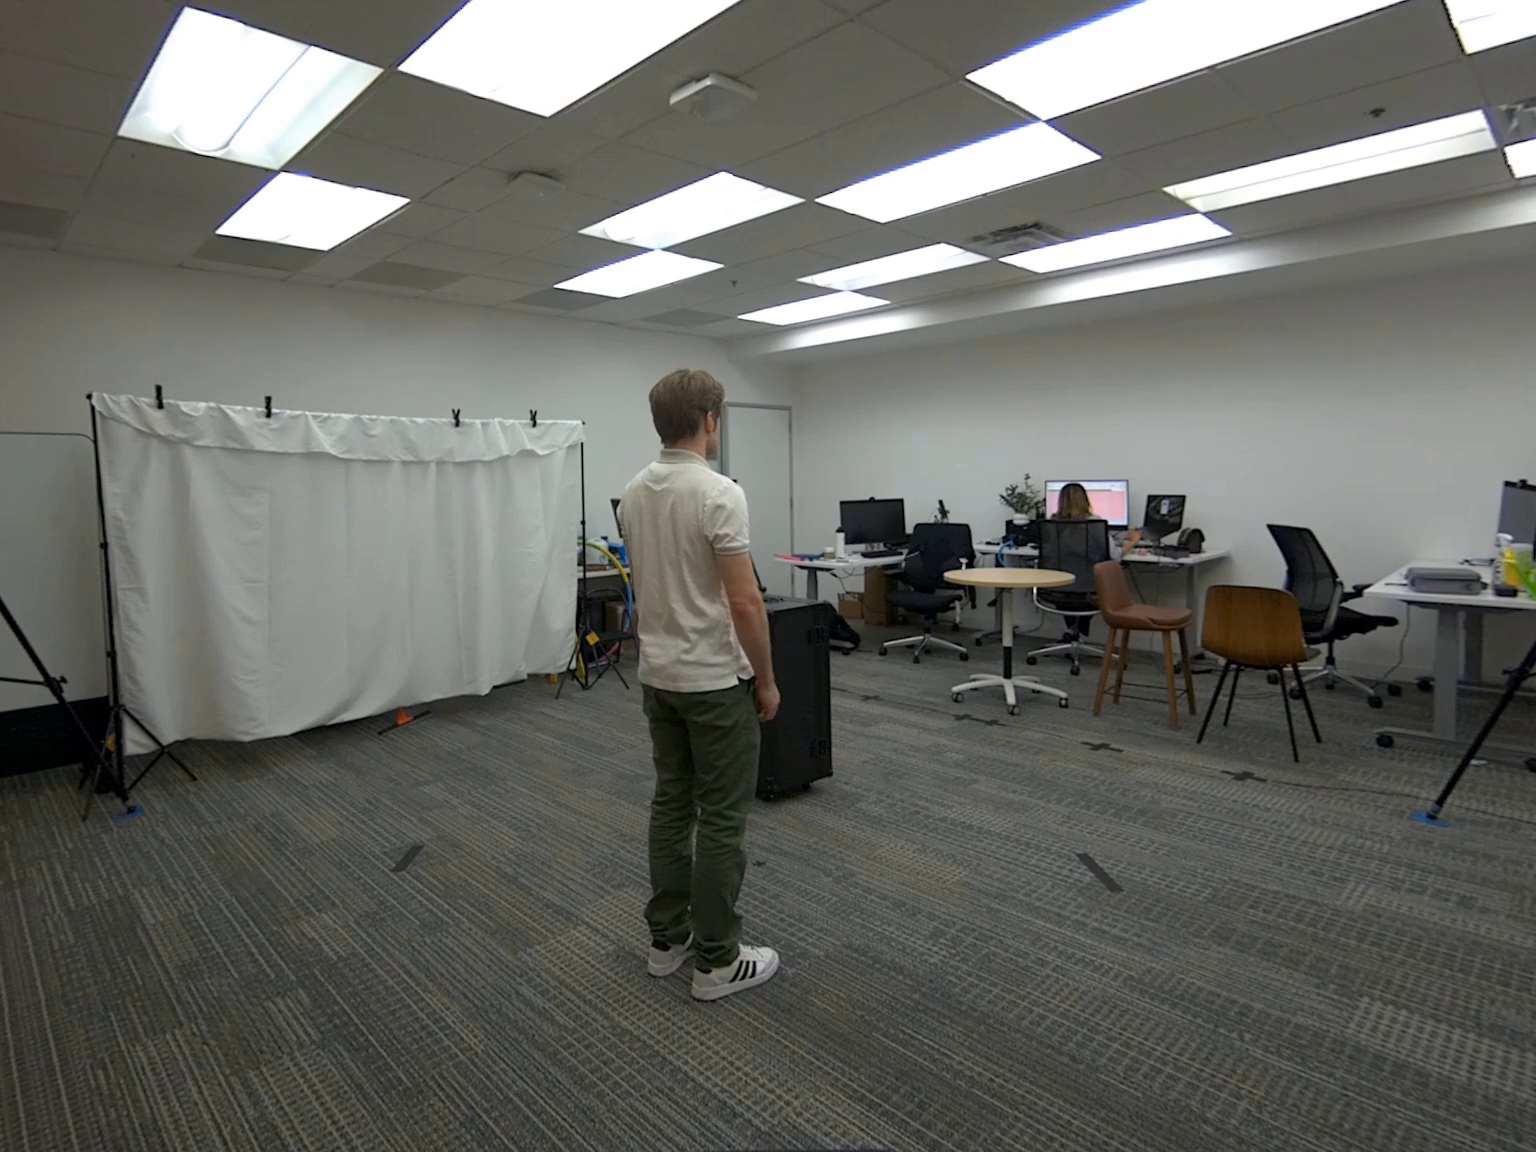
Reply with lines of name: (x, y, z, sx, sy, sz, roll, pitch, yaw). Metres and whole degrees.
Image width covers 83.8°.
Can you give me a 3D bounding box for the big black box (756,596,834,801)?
big black box: (-0.003, 0.541, 3.873, 0.375, 0.865, 0.539, -5, 6, -38)
